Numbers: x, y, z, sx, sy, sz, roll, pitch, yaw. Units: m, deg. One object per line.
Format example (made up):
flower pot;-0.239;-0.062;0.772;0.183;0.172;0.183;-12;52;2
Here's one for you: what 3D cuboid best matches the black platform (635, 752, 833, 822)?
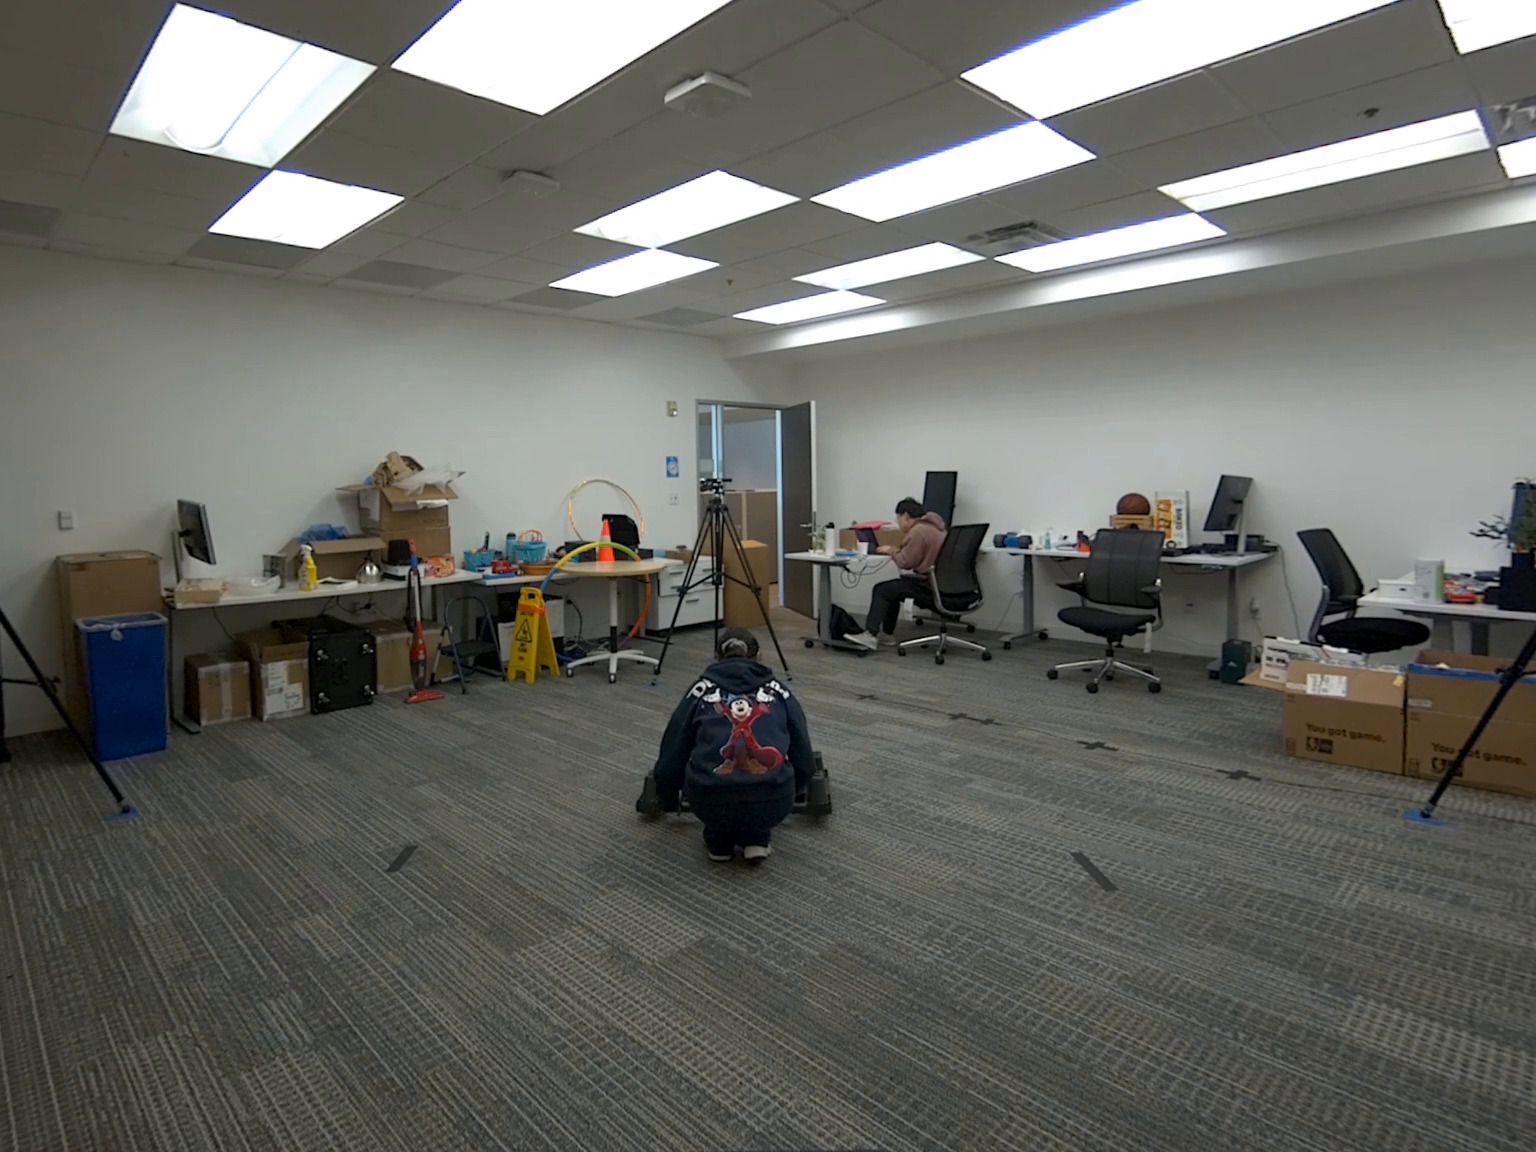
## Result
black platform;-0.119;0.880;3.738;0.809;0.143;0.602;-1;1;4
